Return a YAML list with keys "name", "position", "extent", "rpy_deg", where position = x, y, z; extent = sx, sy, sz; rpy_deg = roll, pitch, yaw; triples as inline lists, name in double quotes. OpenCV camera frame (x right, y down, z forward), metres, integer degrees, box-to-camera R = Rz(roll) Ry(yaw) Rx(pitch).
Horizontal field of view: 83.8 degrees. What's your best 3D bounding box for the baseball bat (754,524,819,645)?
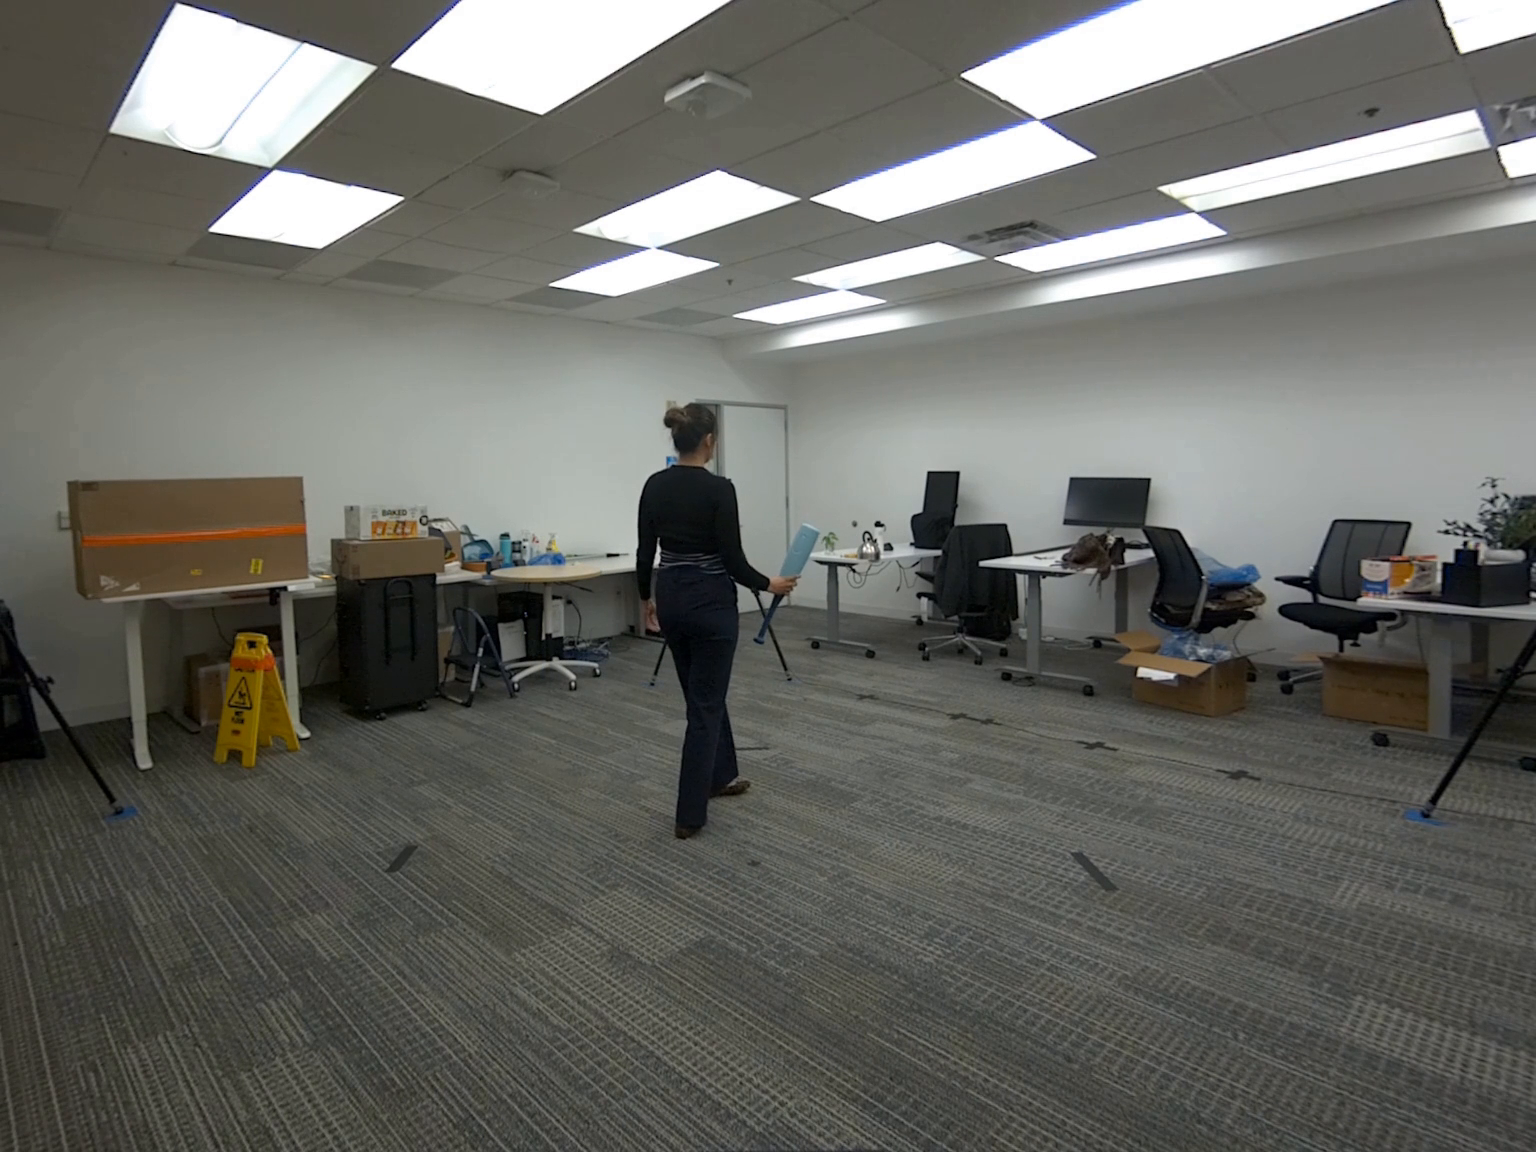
- name: "baseball bat"
  position: [0.060, 0.033, 3.592]
  extent: [0.089, 0.542, 0.089]
  rpy_deg: [25, 3, -4]
